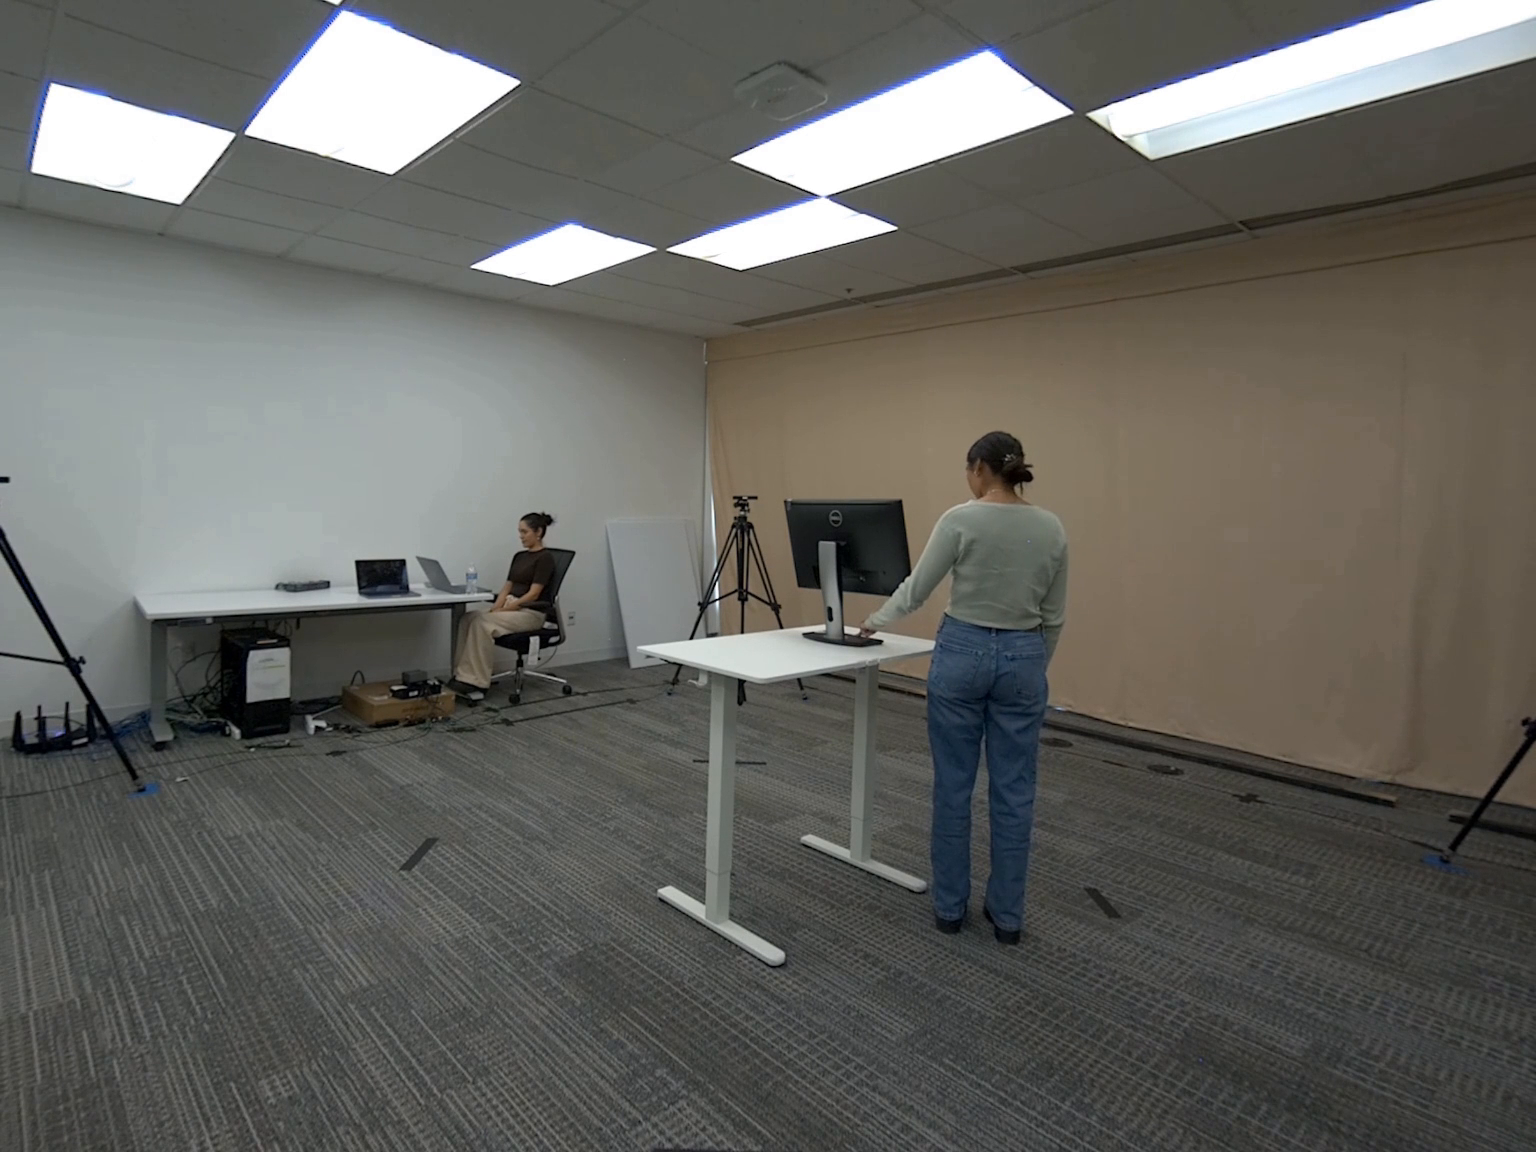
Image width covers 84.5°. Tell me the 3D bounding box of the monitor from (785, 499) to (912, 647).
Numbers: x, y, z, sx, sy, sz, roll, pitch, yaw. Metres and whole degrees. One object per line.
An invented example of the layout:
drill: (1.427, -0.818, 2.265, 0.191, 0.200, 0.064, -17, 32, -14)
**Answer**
monitor: (0.255, -0.015, 3.044, 0.553, 0.521, 0.183, 4, 6, 44)
